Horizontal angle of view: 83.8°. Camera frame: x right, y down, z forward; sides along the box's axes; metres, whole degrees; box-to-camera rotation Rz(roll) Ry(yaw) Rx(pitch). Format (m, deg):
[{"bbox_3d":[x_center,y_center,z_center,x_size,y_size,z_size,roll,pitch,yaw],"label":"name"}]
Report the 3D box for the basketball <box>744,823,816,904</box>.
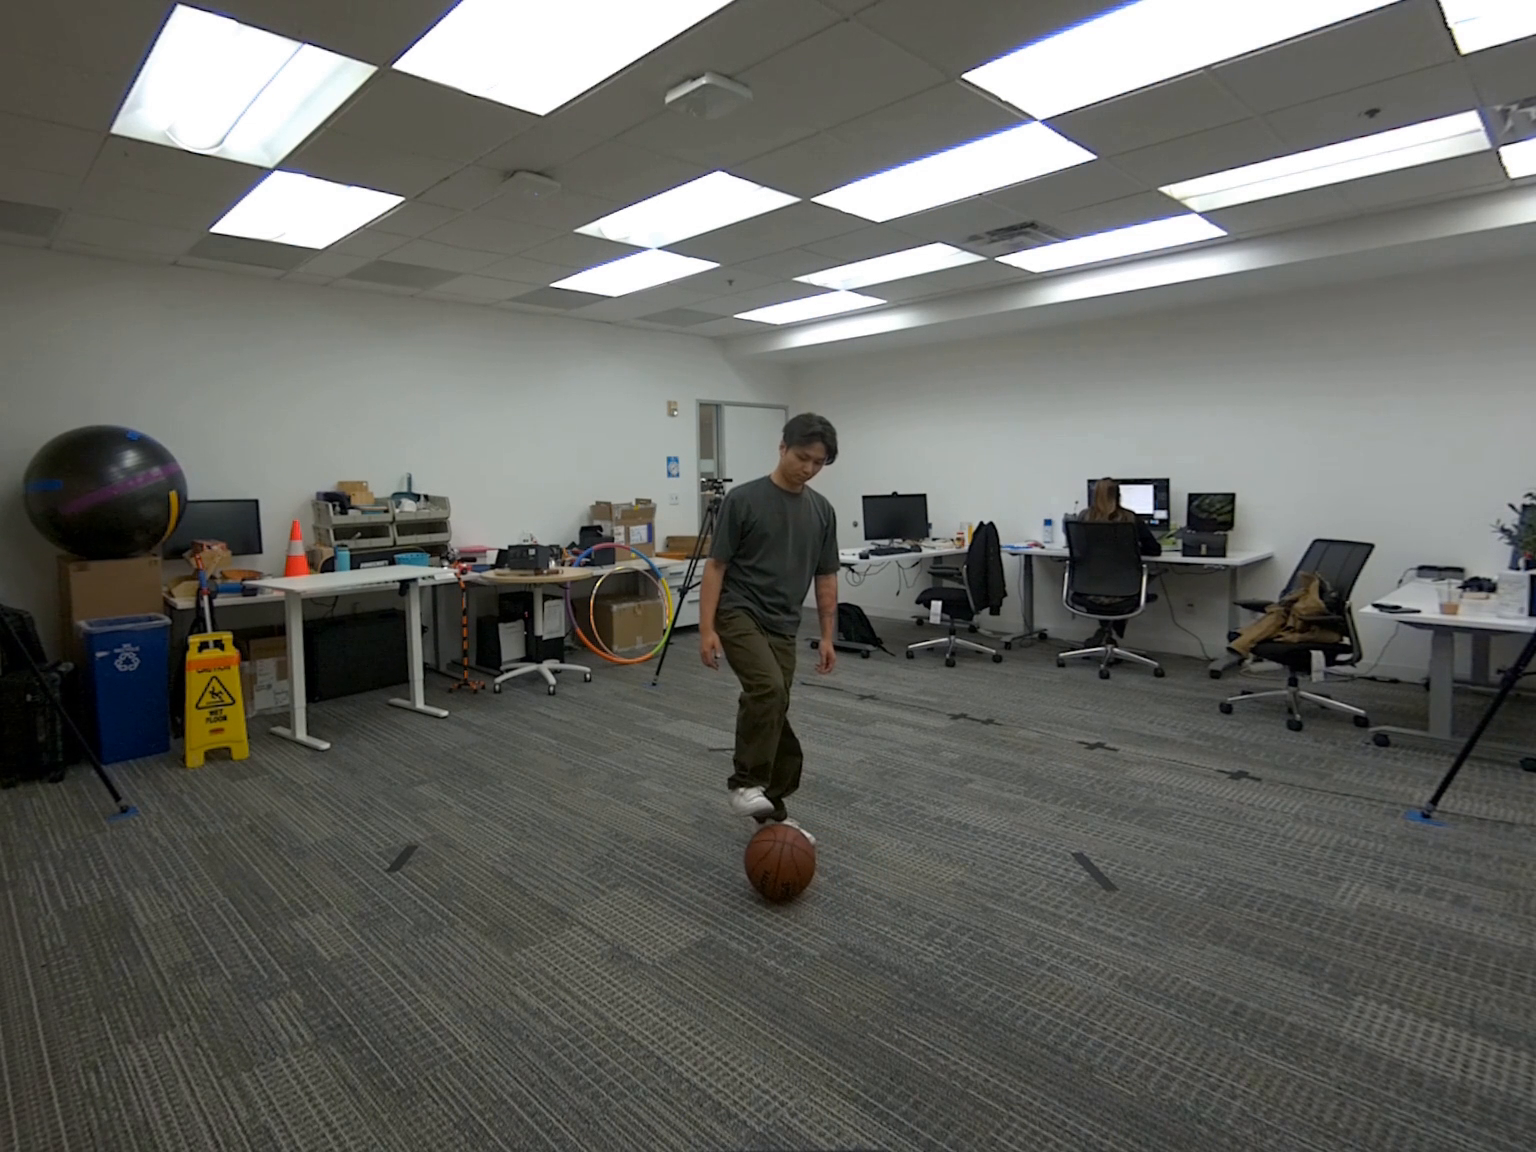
[{"bbox_3d":[0.045,0.957,2.854,0.236,0.235,0.237,-1,5,-2],"label":"basketball"}]
